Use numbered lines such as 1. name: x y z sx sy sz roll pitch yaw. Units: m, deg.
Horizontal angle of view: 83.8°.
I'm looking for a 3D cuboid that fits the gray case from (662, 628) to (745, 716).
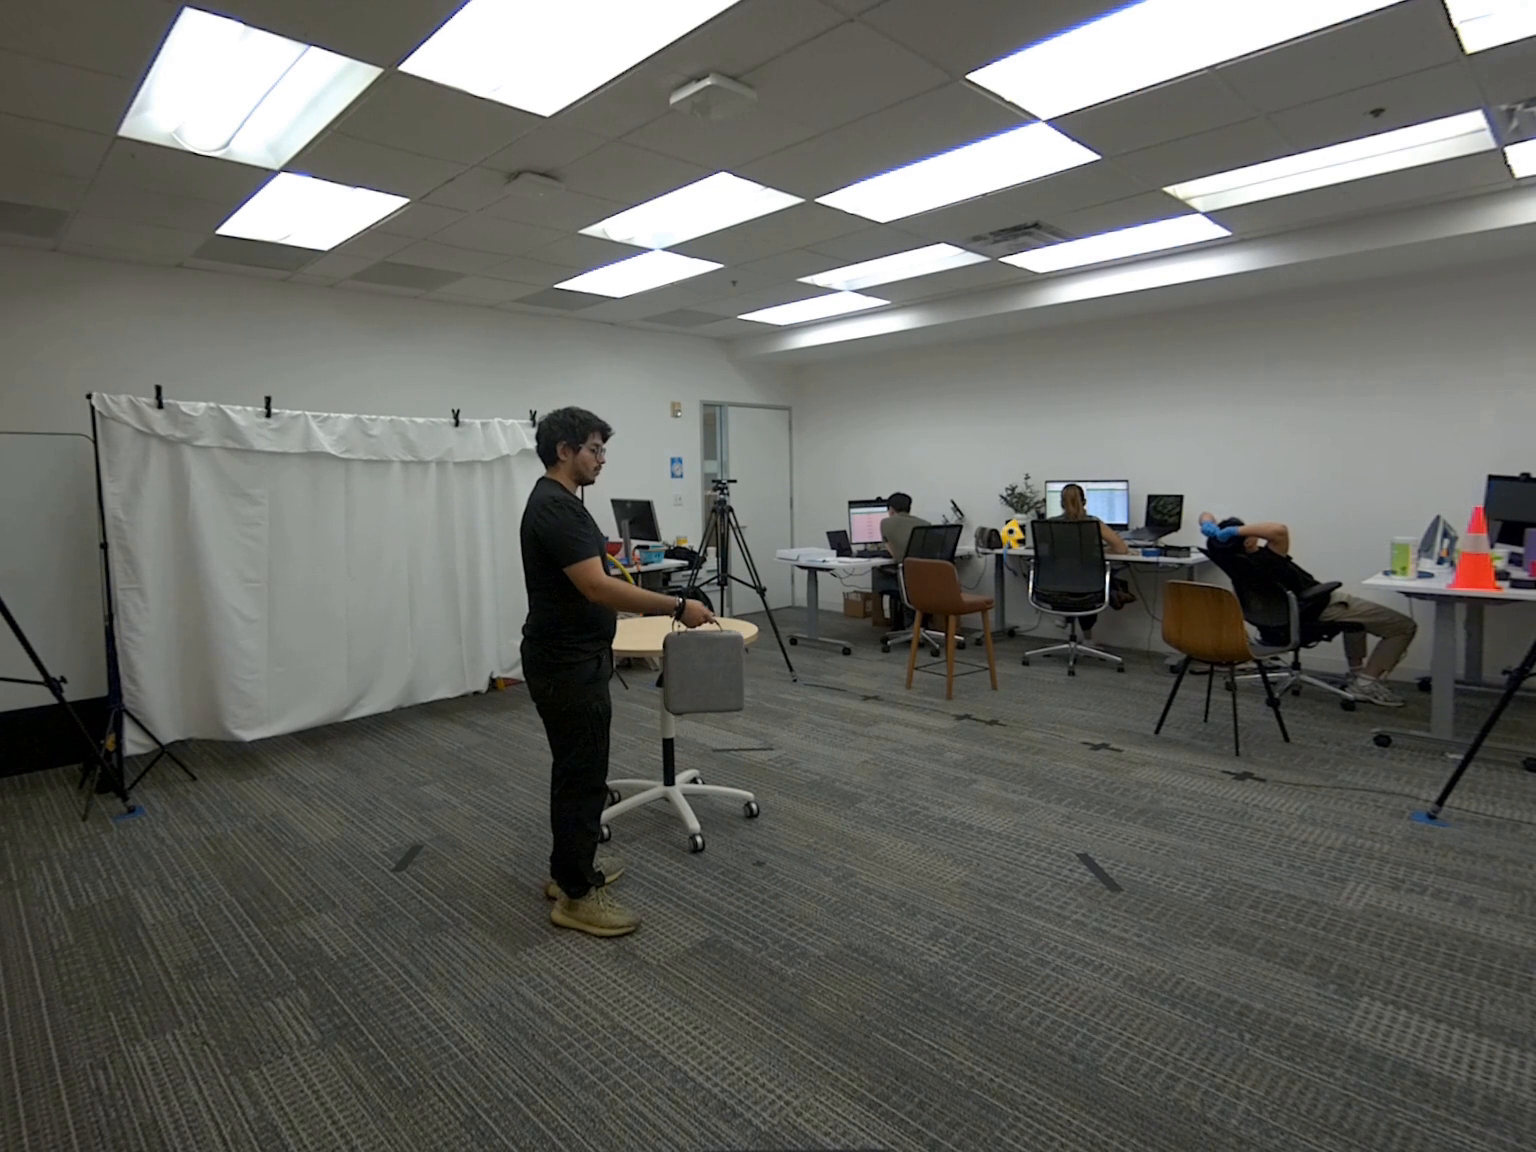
1. gray case: -0.195 0.297 2.683 0.255 0.261 0.105 -2 -2 -7
